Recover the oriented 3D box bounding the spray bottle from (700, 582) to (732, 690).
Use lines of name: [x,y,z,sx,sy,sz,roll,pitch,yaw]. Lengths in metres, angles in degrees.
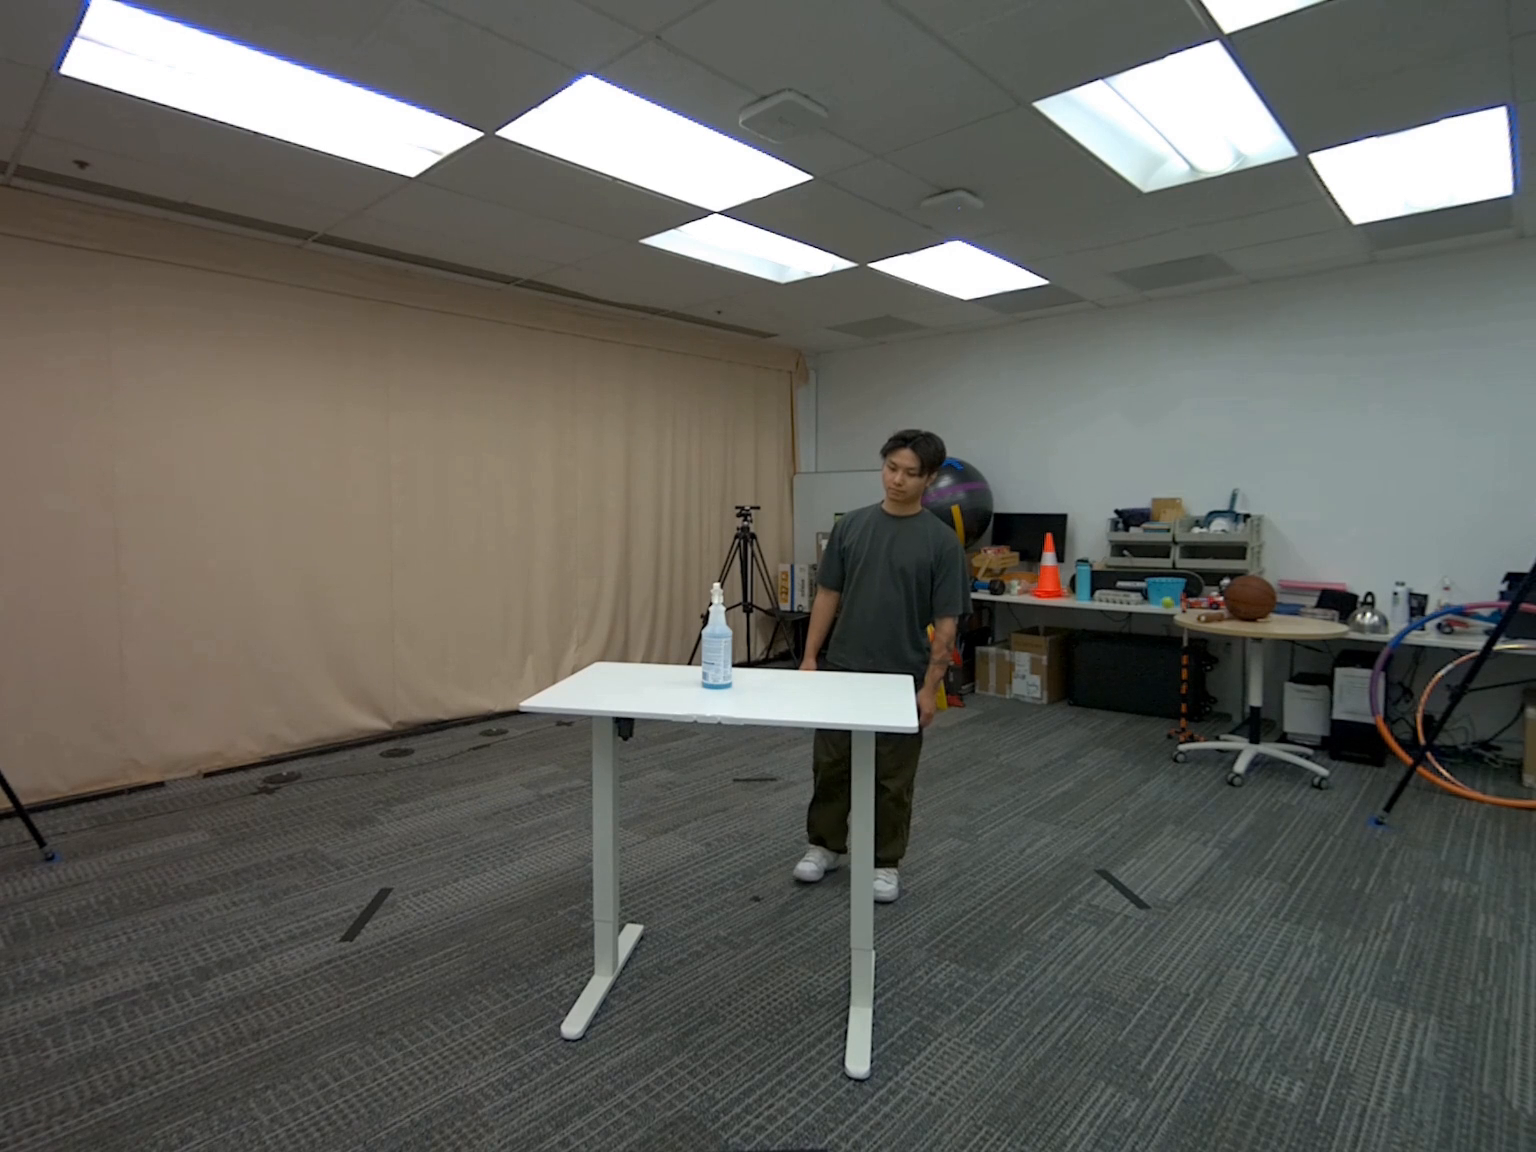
spray bottle: [-0.142,0.168,2.372,0.089,0.297,0.088,1,4,26]
